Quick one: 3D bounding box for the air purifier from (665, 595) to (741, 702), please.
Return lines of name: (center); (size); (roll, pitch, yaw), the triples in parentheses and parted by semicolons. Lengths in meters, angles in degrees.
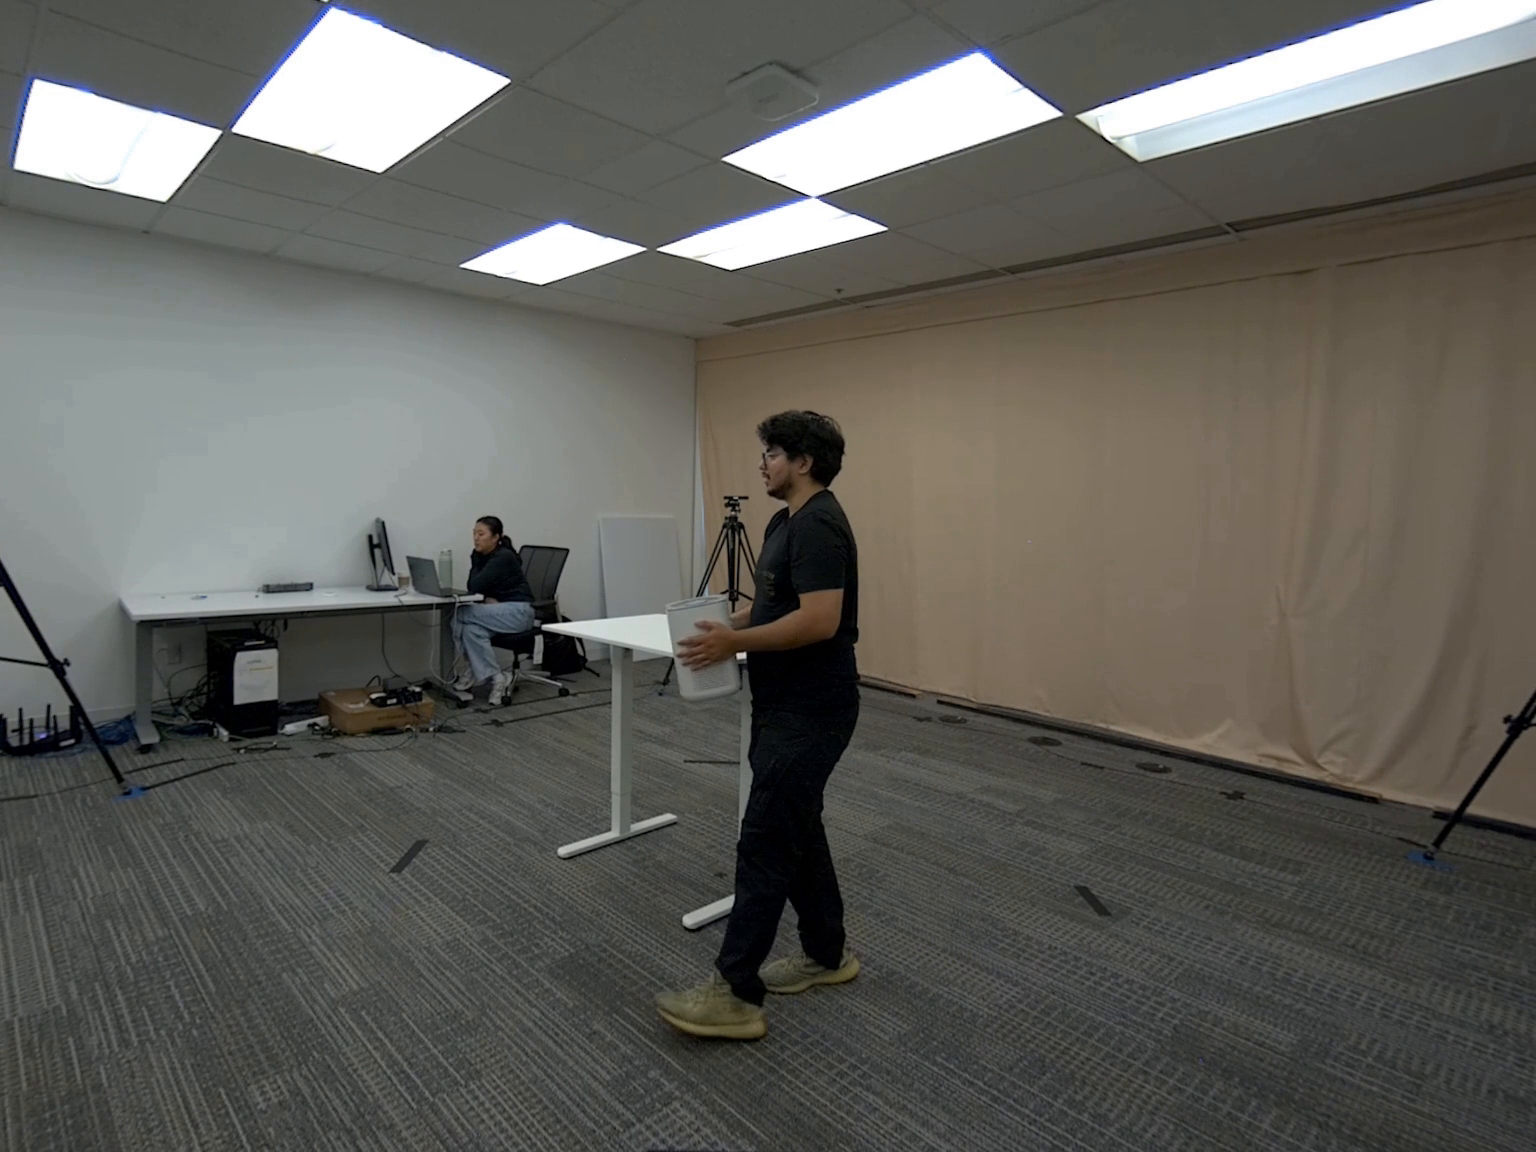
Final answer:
air purifier: (-0.176, 0.201, 2.329); (0.171, 0.265, 0.171); (-10, 1, -2)
